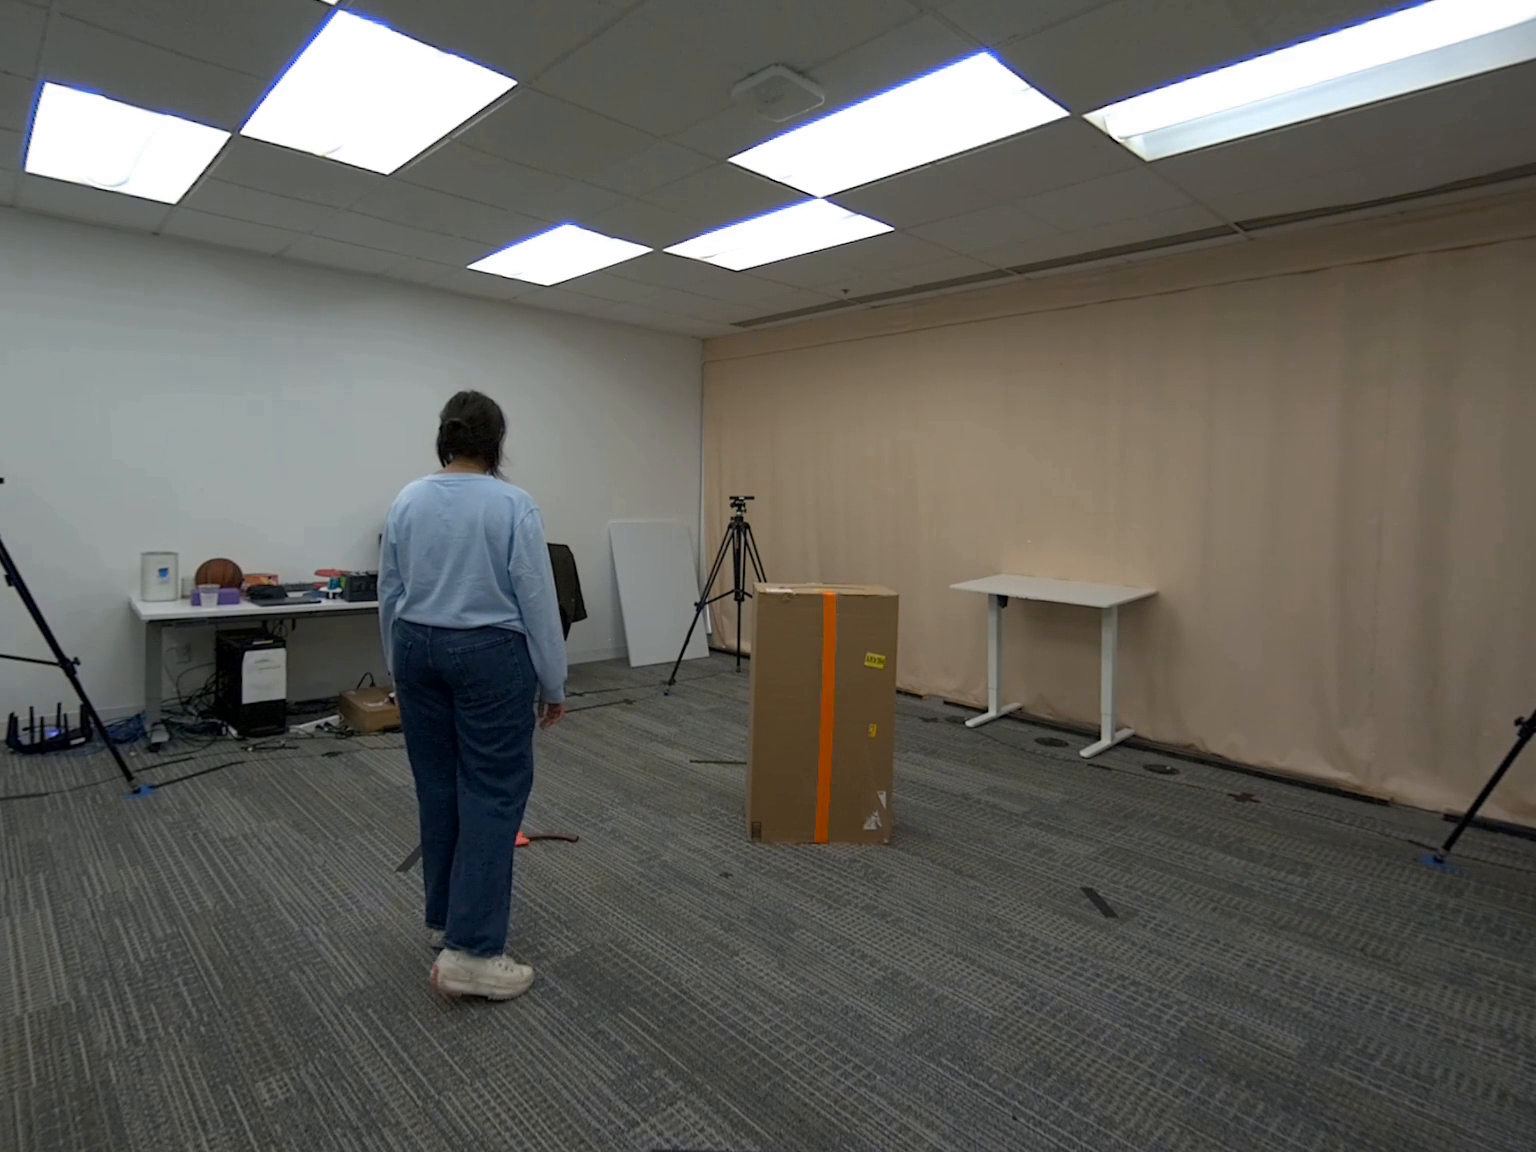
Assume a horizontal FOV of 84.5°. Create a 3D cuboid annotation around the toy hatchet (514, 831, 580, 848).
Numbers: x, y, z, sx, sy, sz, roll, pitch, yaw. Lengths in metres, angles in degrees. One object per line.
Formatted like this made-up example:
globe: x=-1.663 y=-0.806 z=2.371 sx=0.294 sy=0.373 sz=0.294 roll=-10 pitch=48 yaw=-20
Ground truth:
toy hatchet: x=-0.909 y=1.053 z=3.355 sx=0.272 sy=0.029 sz=0.130 roll=2 pitch=4 yaw=8
